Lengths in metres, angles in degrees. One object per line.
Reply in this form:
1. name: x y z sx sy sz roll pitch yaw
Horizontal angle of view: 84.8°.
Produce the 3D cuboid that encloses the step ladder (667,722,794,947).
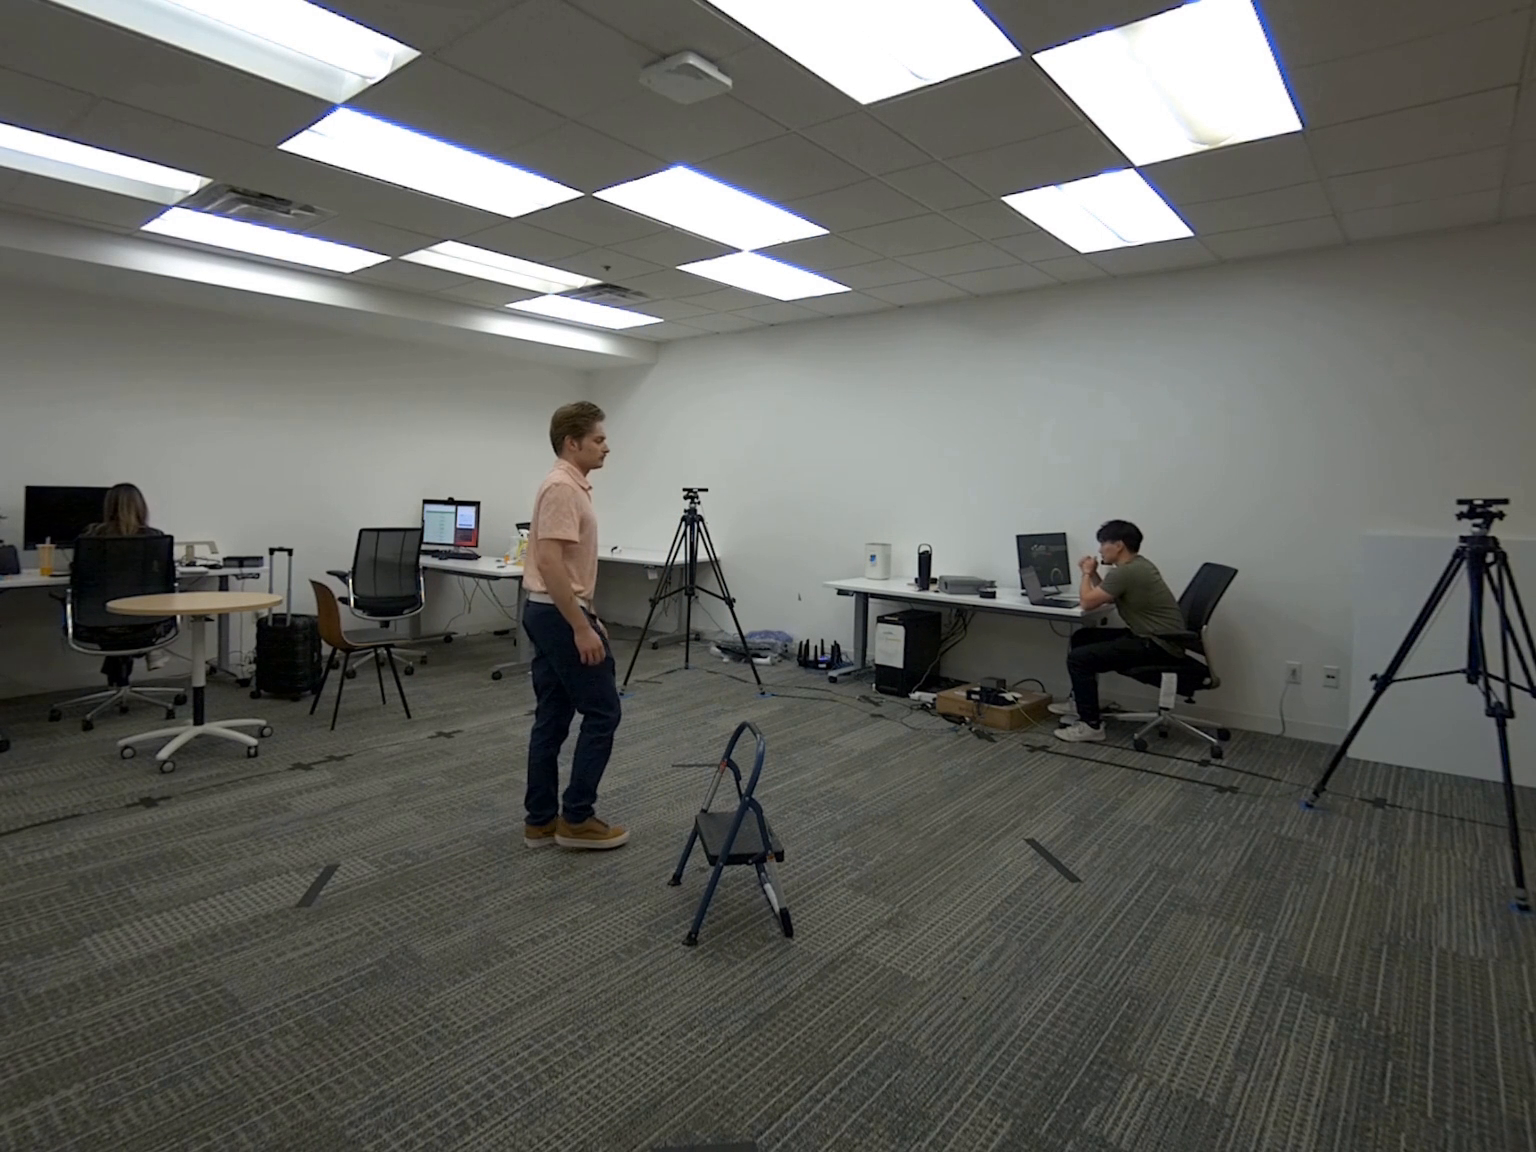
1. step ladder: -0.131 0.801 2.801 0.345 0.604 0.438 0 4 -13
